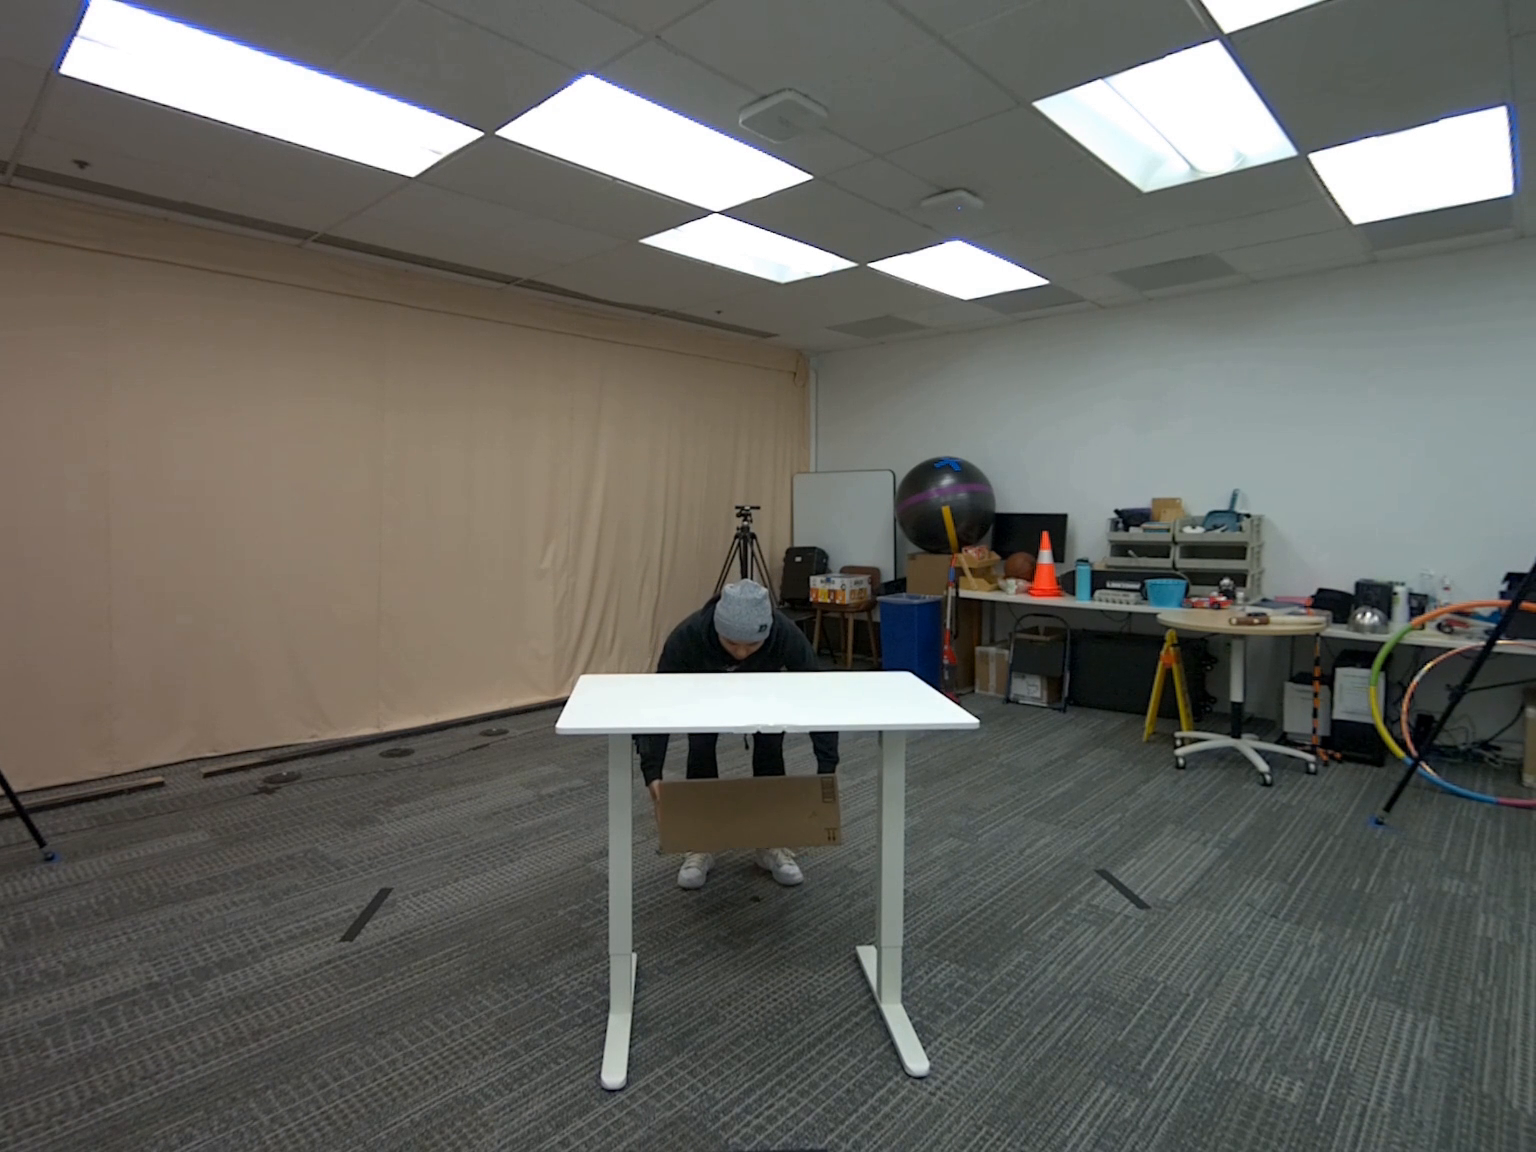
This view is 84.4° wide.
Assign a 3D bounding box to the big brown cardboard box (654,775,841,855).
[{"bbox_3d":[-0.080,0.792,2.821,0.588,0.235,0.414,-2,-13,-2],"label":"big brown cardboard box"}]
